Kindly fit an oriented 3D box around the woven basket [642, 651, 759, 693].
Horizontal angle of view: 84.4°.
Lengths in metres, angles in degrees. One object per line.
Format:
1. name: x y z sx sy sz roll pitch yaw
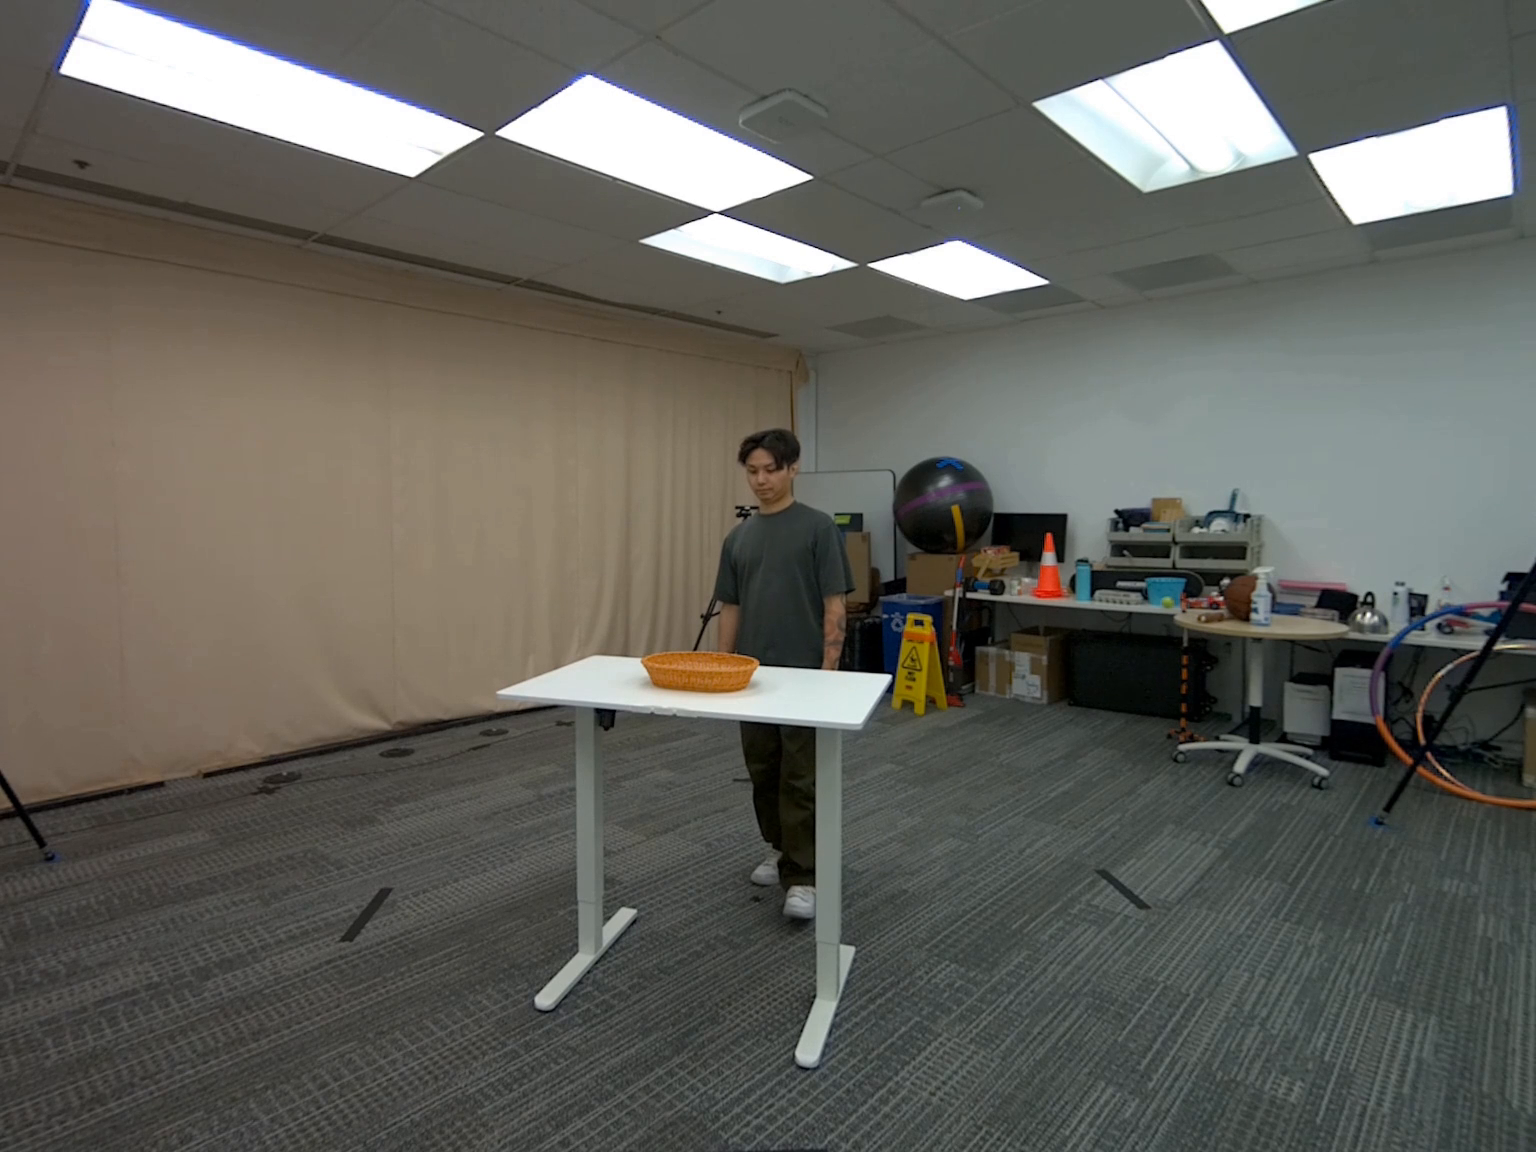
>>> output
1. woven basket: -0.195 0.284 2.401 0.357 0.073 0.248 2 6 18
